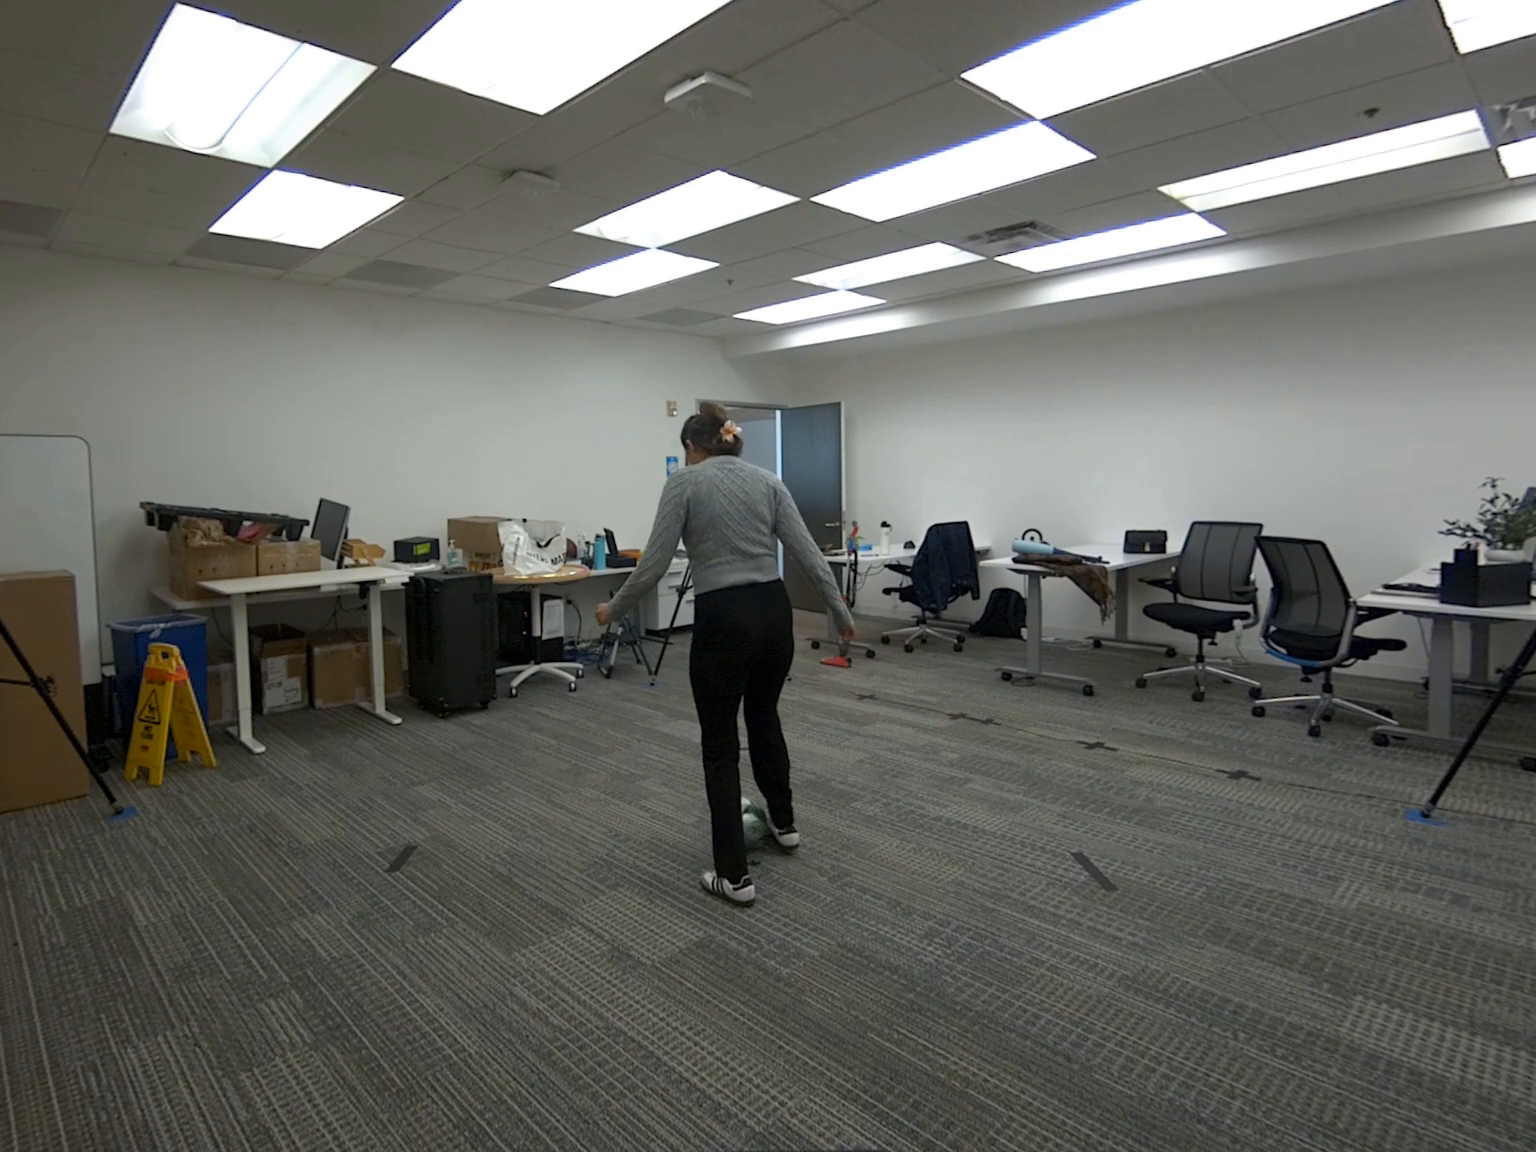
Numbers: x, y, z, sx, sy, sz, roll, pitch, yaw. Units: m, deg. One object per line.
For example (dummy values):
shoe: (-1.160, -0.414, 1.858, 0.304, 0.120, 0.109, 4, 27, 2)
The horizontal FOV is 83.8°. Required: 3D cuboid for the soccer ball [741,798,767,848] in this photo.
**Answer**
soccer ball: (-0.104, 0.934, 3.224, 0.187, 0.187, 0.188, -1, 5, -2)
